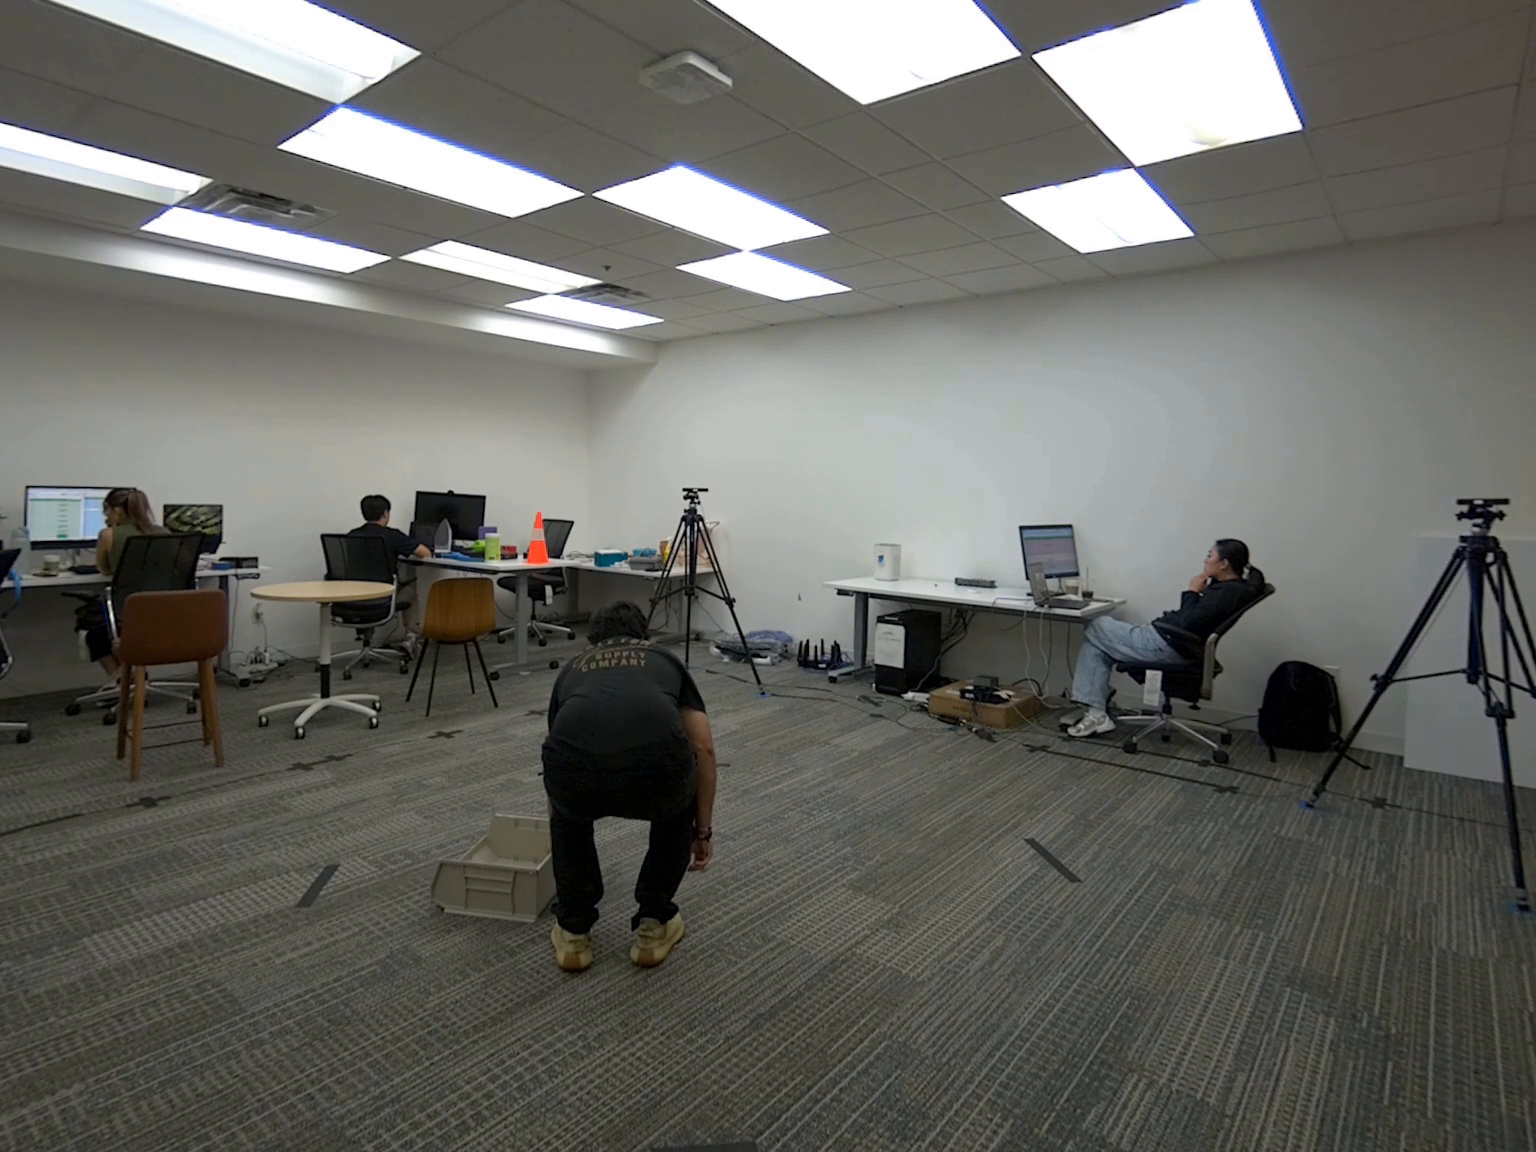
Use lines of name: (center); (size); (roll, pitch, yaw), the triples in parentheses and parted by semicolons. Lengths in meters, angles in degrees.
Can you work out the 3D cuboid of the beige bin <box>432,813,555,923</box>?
beige bin: (-0.902, 0.990, 2.927); (0.381, 0.188, 0.420); (3, 5, 8)
